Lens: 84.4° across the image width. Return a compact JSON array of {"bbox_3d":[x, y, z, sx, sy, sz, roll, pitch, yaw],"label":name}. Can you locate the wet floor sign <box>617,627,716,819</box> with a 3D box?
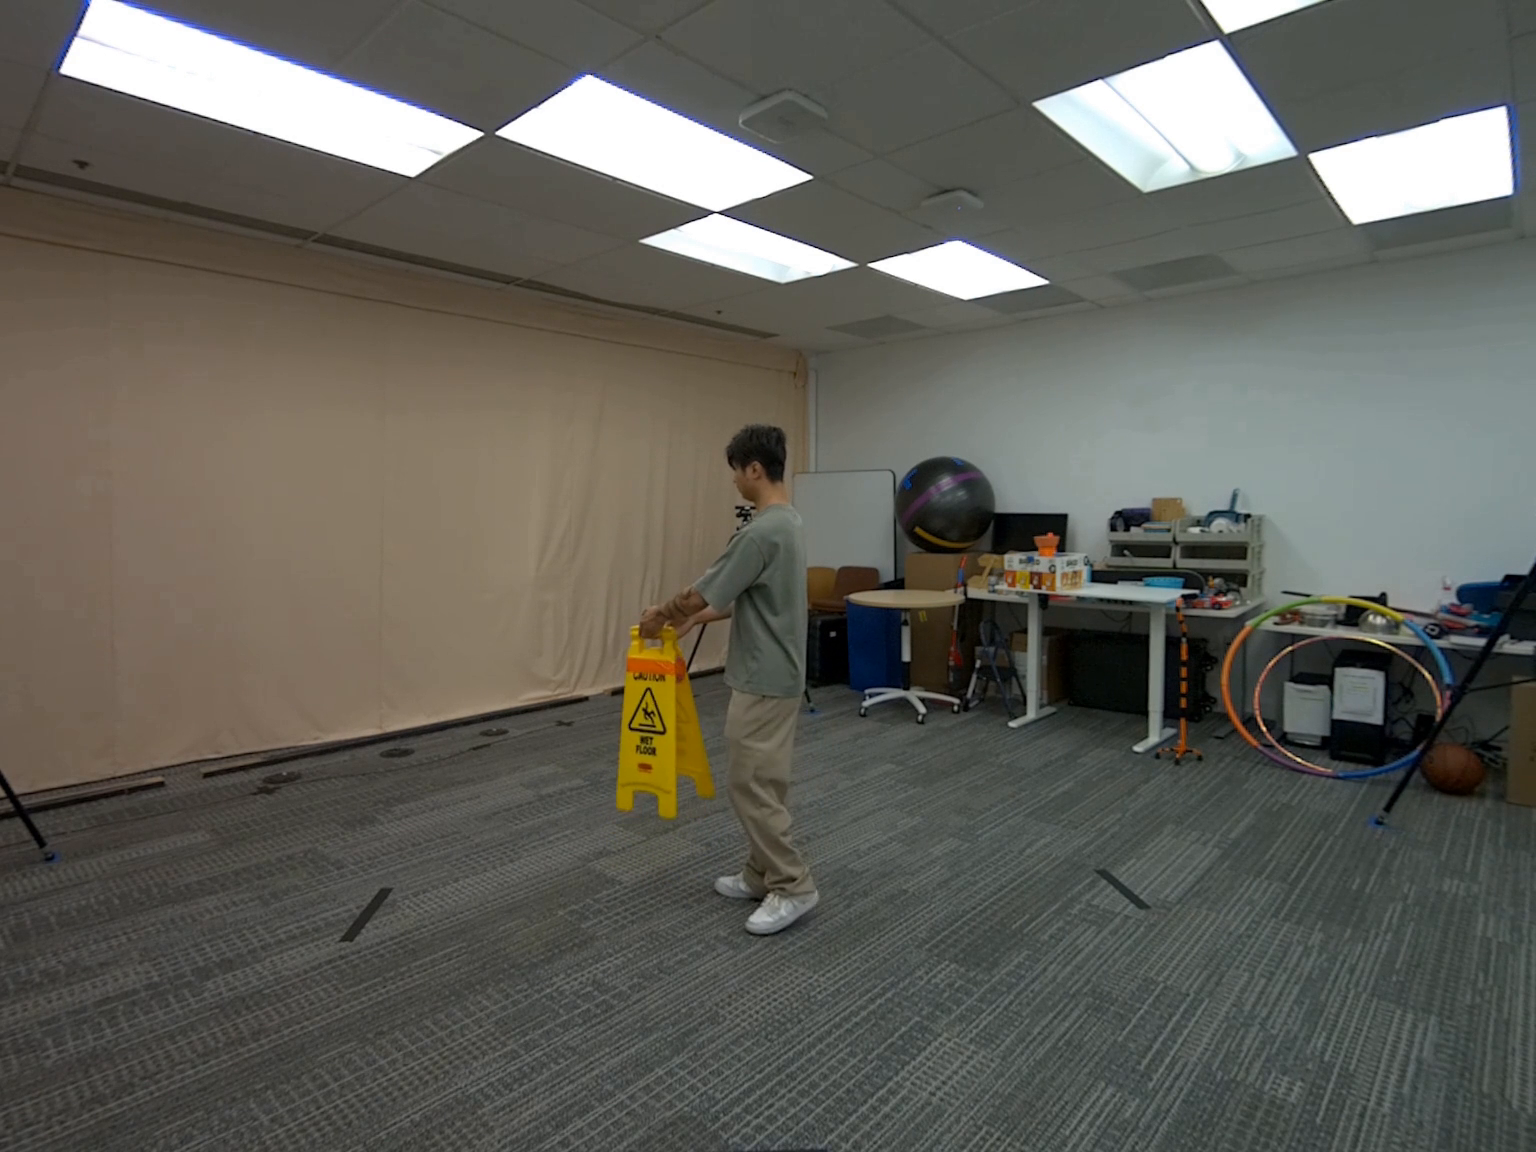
[{"bbox_3d":[-0.396,0.510,3.069,0.290,0.645,0.282,-4,3,34],"label":"wet floor sign"}]
